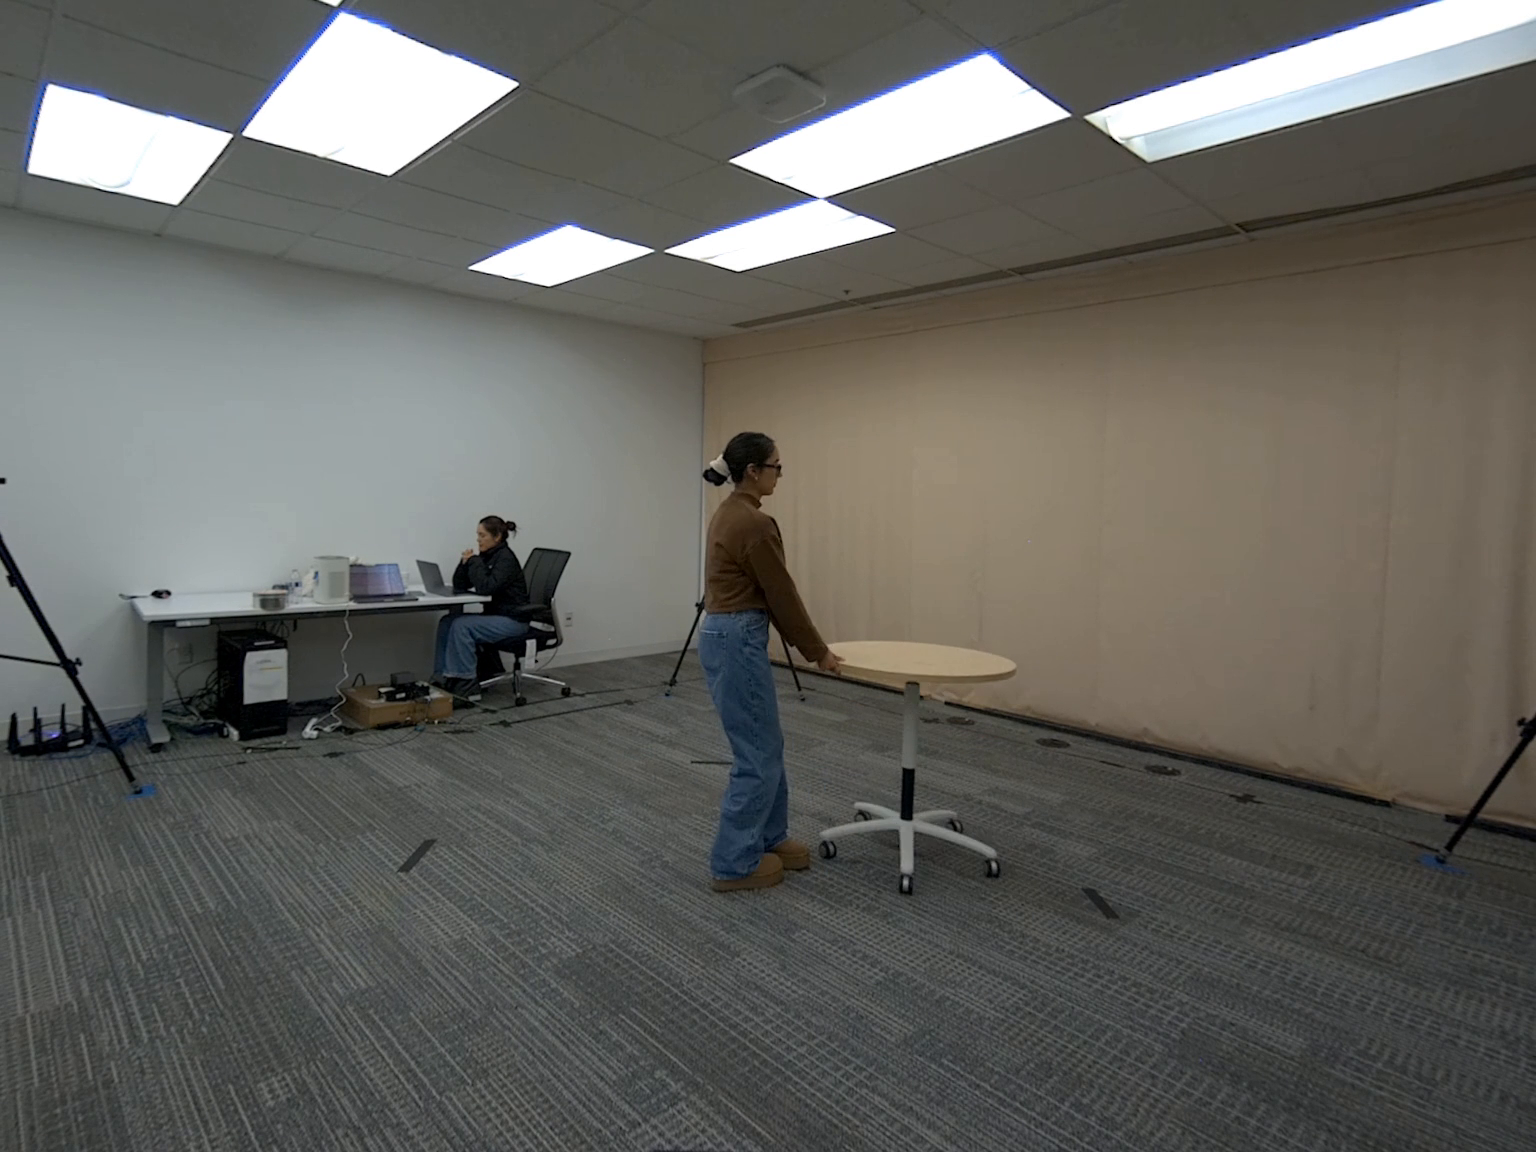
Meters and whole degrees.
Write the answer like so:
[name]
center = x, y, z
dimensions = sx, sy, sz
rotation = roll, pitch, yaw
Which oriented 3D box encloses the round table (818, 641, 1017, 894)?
[round table]
center = 0.530, 0.707, 3.309
dimensions = 0.784, 0.785, 0.787
rotation = 2, 3, -1
